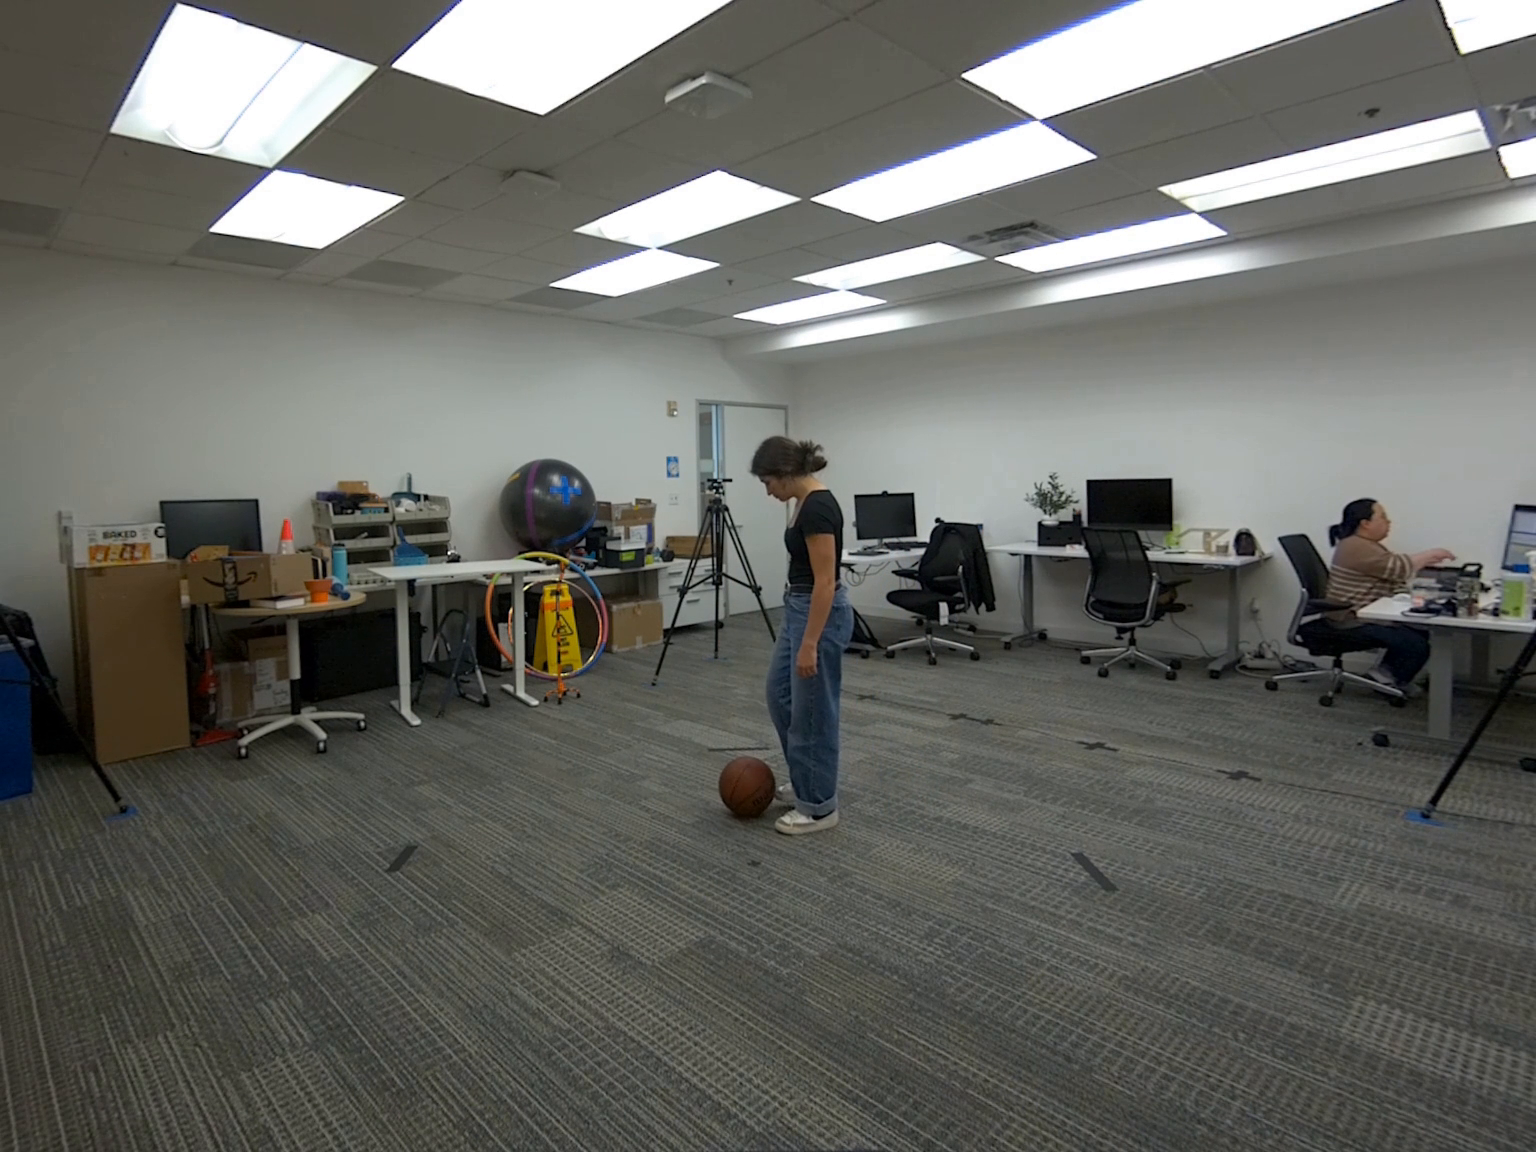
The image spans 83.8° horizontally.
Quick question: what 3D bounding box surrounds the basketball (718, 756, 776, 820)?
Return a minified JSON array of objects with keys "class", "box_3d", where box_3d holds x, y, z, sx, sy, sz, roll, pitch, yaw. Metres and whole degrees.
[{"class":"basketball","box_3d":[-0.086,0.873,3.557,0.236,0.235,0.237,-1,5,-2]}]
